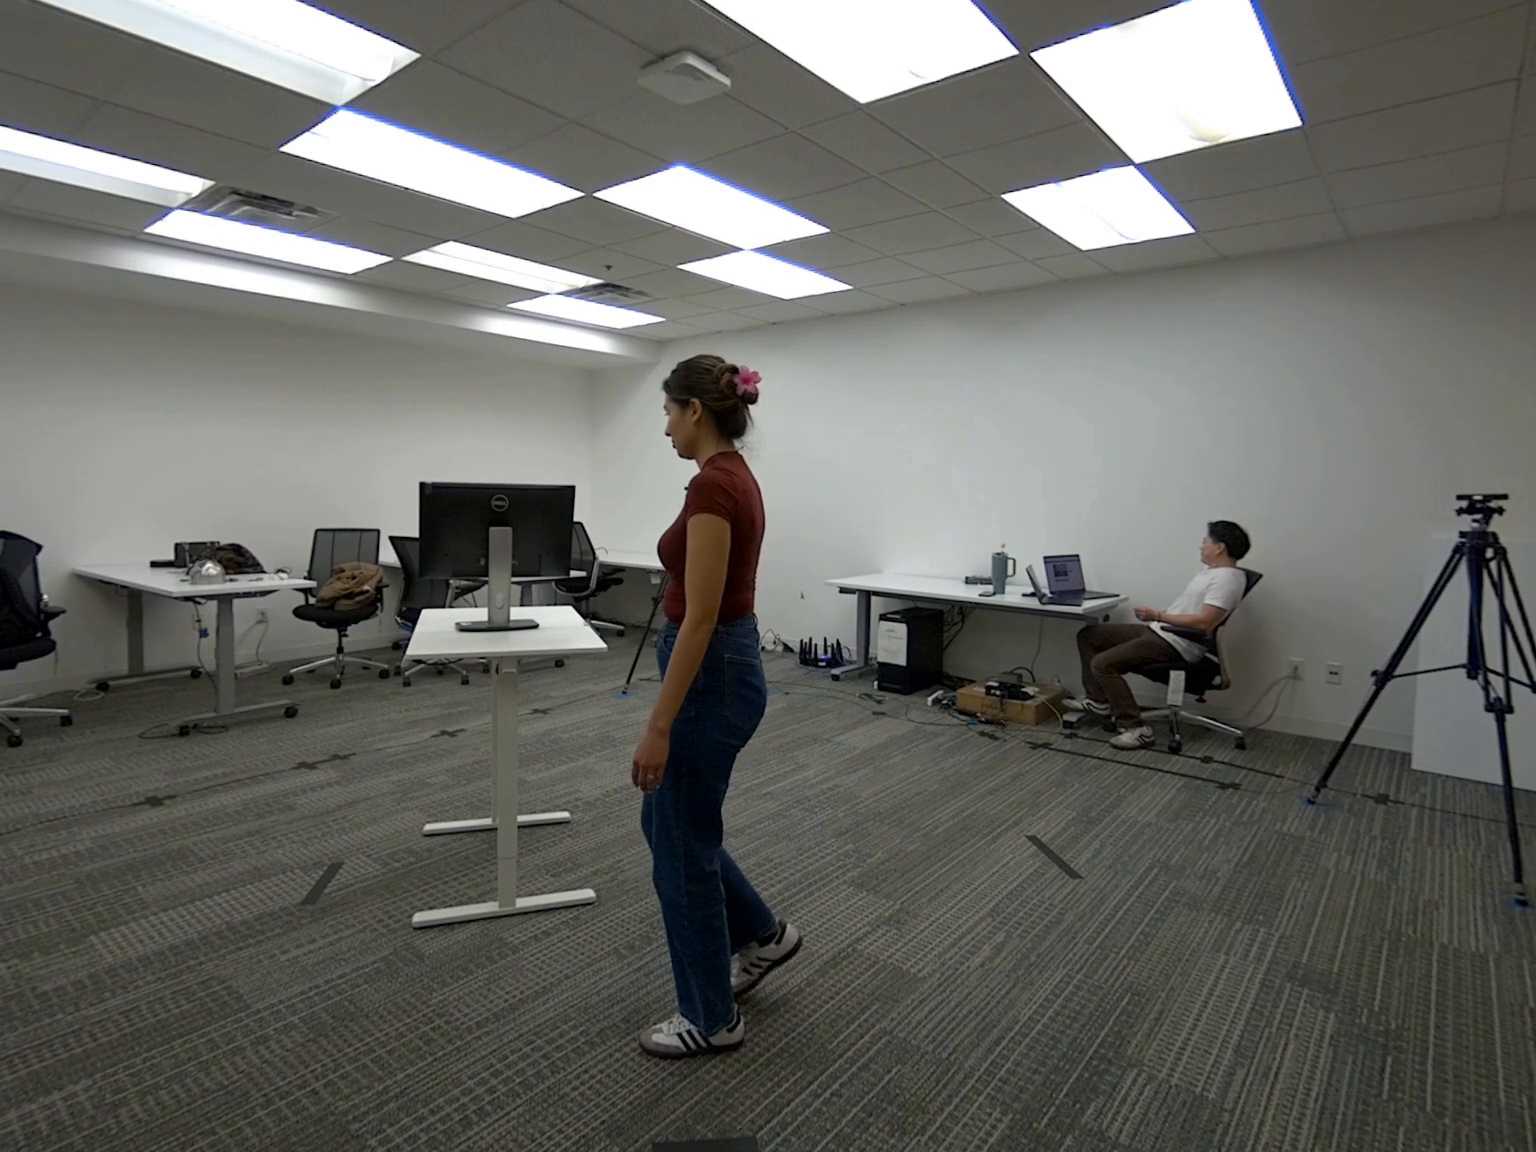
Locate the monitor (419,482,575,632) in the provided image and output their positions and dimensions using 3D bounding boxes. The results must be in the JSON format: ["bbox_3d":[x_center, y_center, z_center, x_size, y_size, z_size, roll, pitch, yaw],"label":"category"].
[{"bbox_3d":[-0.968,-0.069,3.005,0.527,0.520,0.192,0,5,-22],"label":"monitor"}]
